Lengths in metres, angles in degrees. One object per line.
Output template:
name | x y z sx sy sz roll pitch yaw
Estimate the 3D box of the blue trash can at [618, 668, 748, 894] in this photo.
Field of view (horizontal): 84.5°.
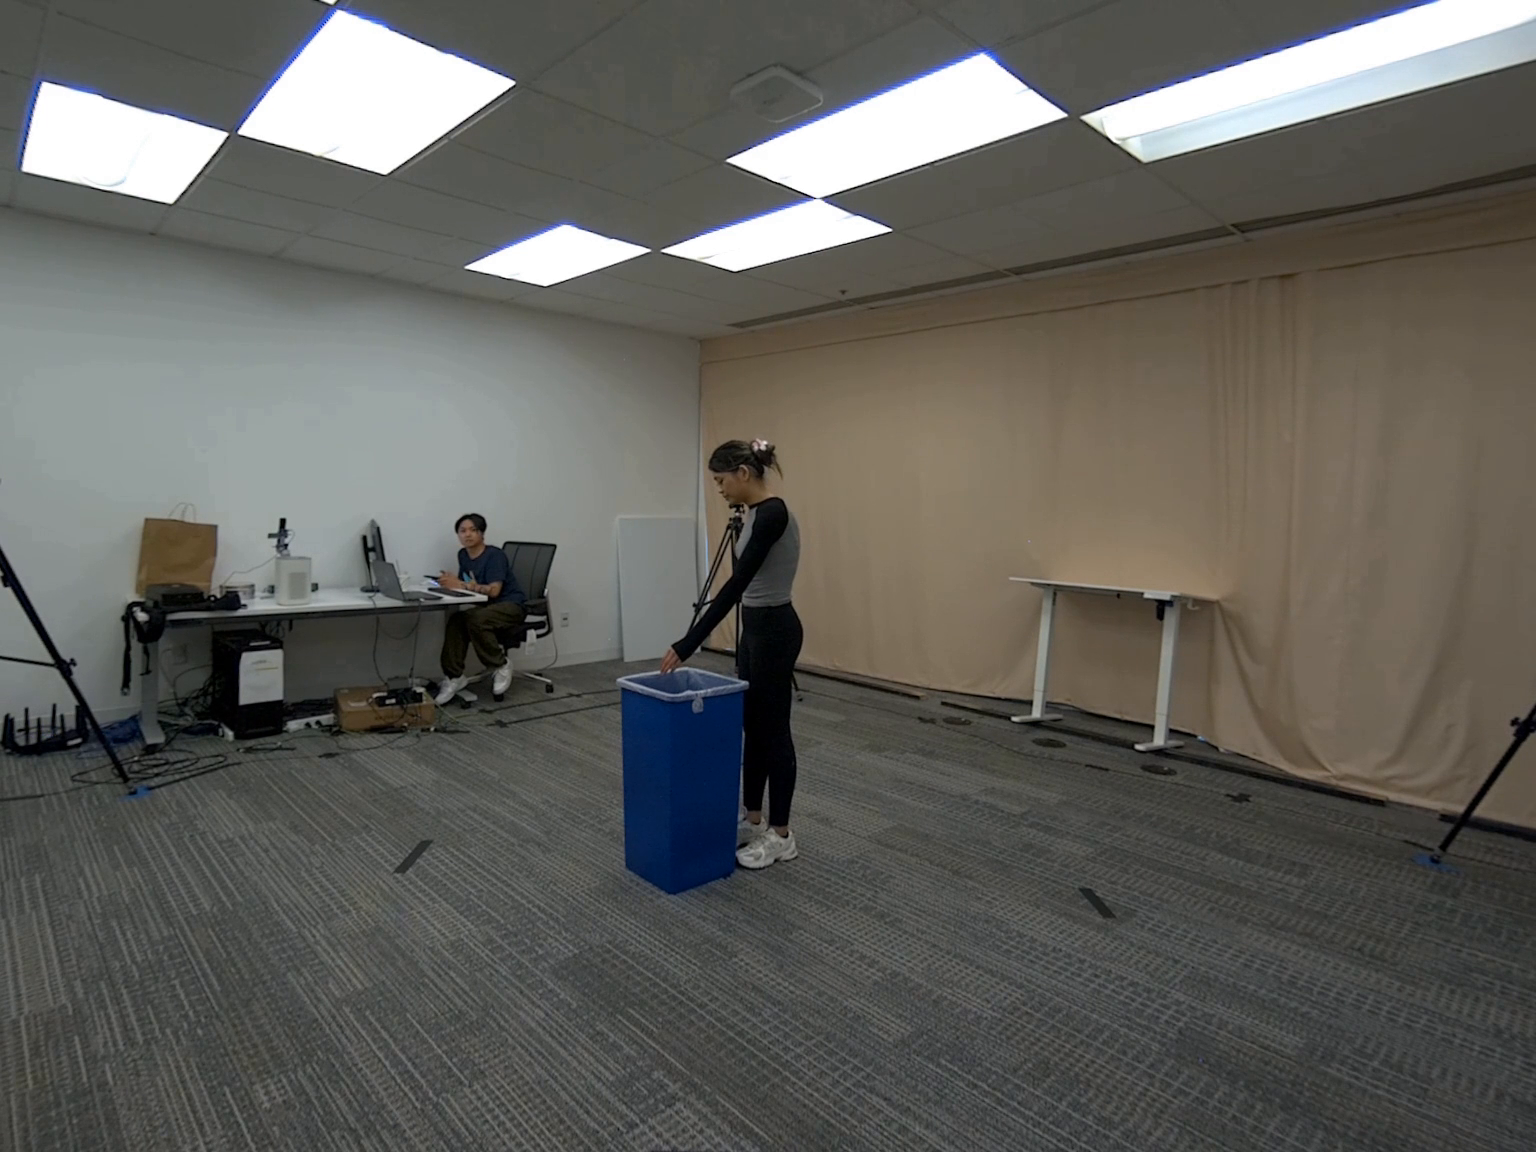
blue trash can | -0.337 0.743 3.134 0.369 0.712 0.383 -1 4 -42
